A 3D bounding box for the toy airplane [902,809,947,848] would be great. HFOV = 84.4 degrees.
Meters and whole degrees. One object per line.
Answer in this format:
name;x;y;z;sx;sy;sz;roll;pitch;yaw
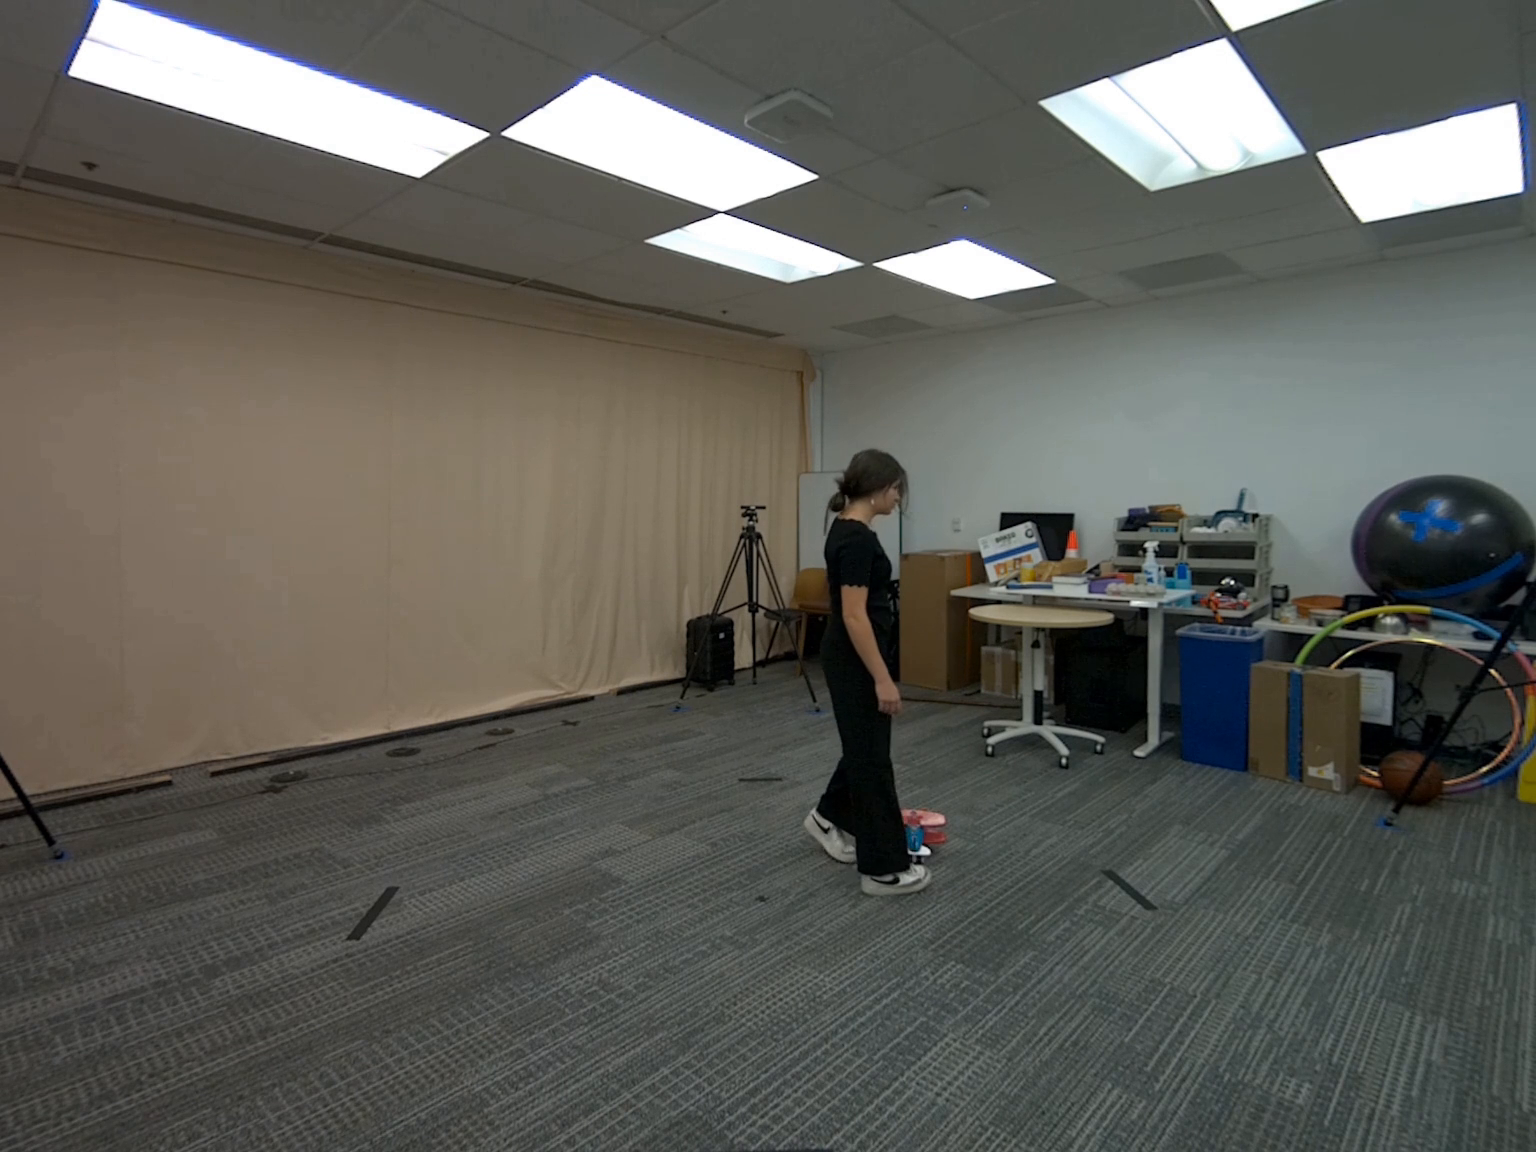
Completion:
toy airplane;0.602;1.037;3.353;0.247;0.156;0.264;-2;3;-18
